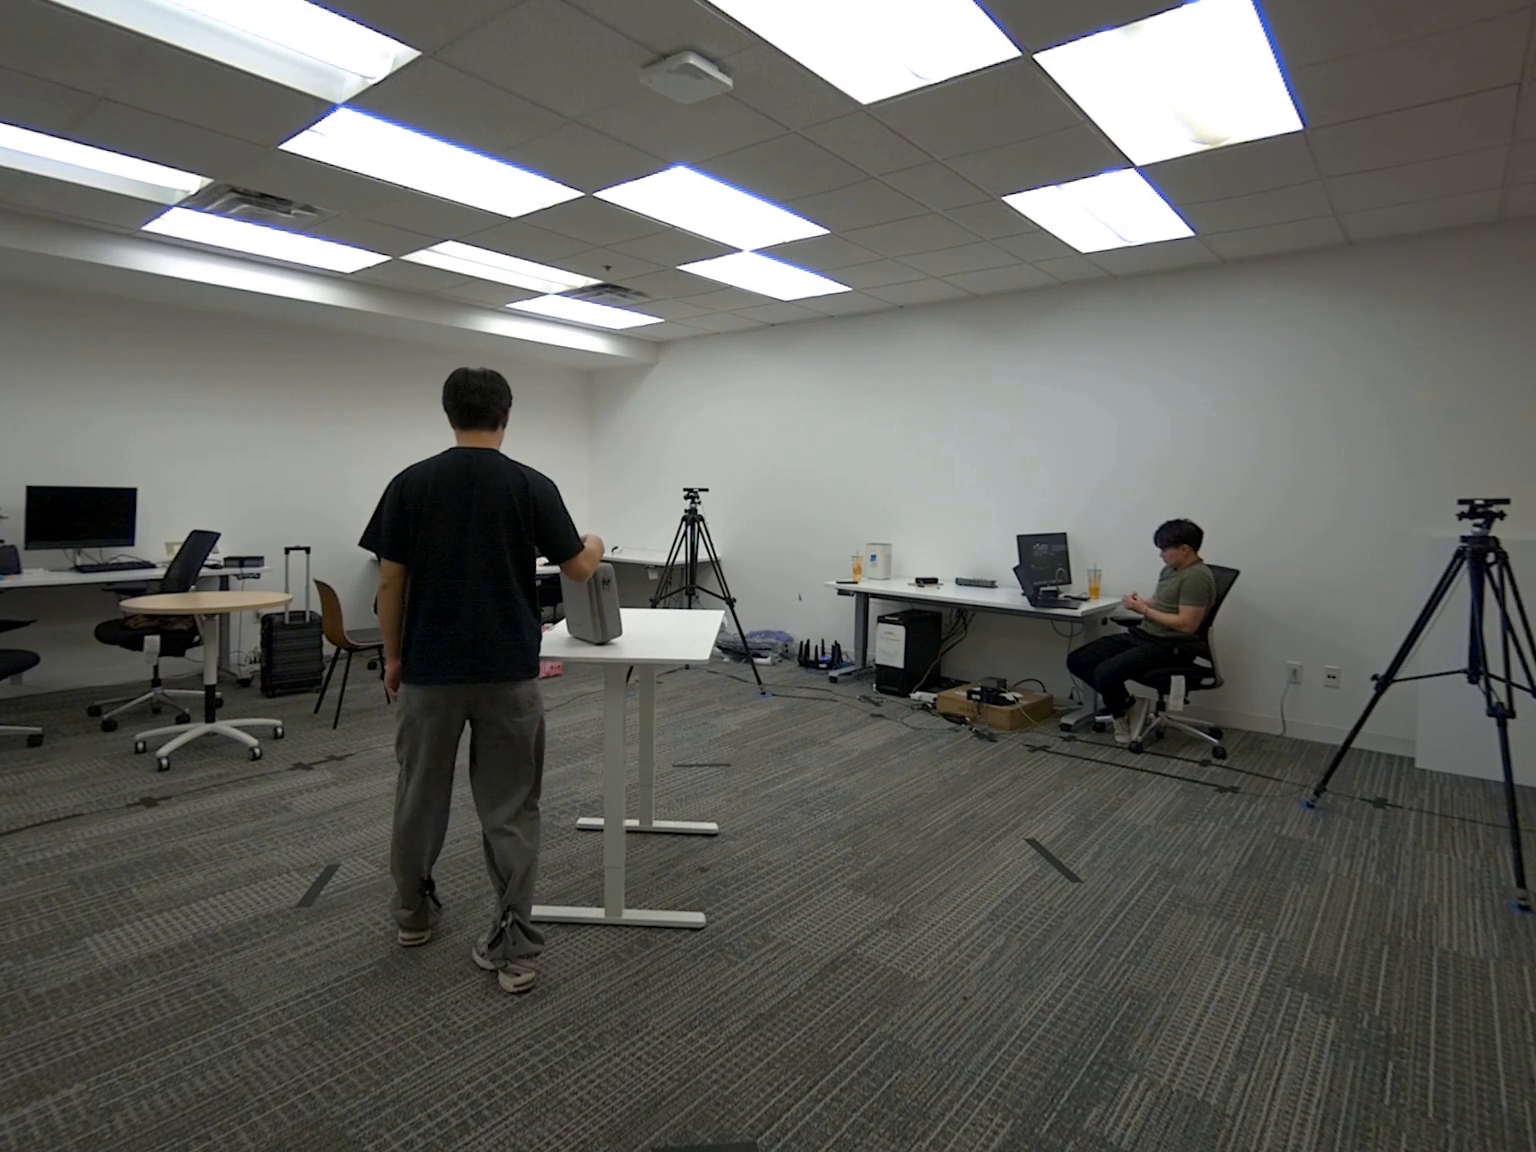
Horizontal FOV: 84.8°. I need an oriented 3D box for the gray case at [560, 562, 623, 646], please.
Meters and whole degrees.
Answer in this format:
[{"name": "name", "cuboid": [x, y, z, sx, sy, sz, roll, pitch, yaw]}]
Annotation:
[{"name": "gray case", "cuboid": [-0.600, 0.067, 2.814, 0.100, 0.286, 0.271, -8, 6, -33]}]
